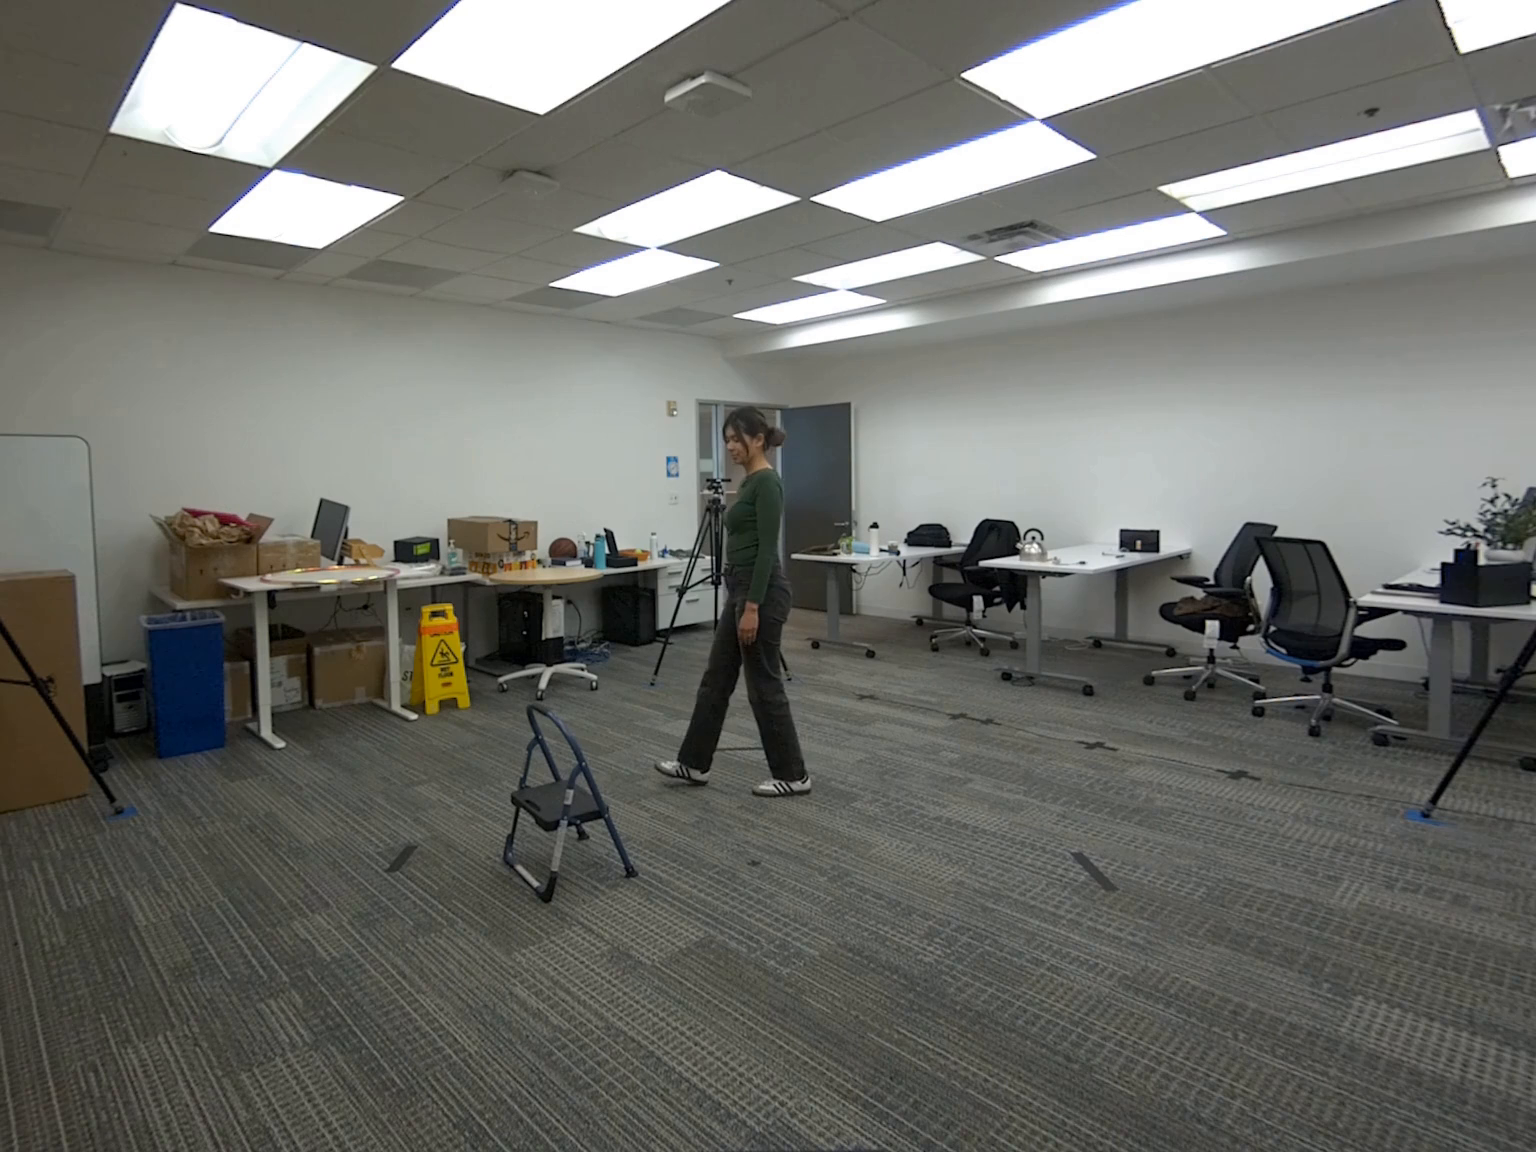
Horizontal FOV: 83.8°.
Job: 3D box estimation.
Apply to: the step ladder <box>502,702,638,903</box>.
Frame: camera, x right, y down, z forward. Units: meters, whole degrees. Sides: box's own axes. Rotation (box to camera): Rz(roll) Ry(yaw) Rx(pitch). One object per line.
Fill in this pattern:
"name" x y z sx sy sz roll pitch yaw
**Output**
"step ladder" -0.733 0.758 3.081 0.340 0.604 0.443 -4 5 -37
